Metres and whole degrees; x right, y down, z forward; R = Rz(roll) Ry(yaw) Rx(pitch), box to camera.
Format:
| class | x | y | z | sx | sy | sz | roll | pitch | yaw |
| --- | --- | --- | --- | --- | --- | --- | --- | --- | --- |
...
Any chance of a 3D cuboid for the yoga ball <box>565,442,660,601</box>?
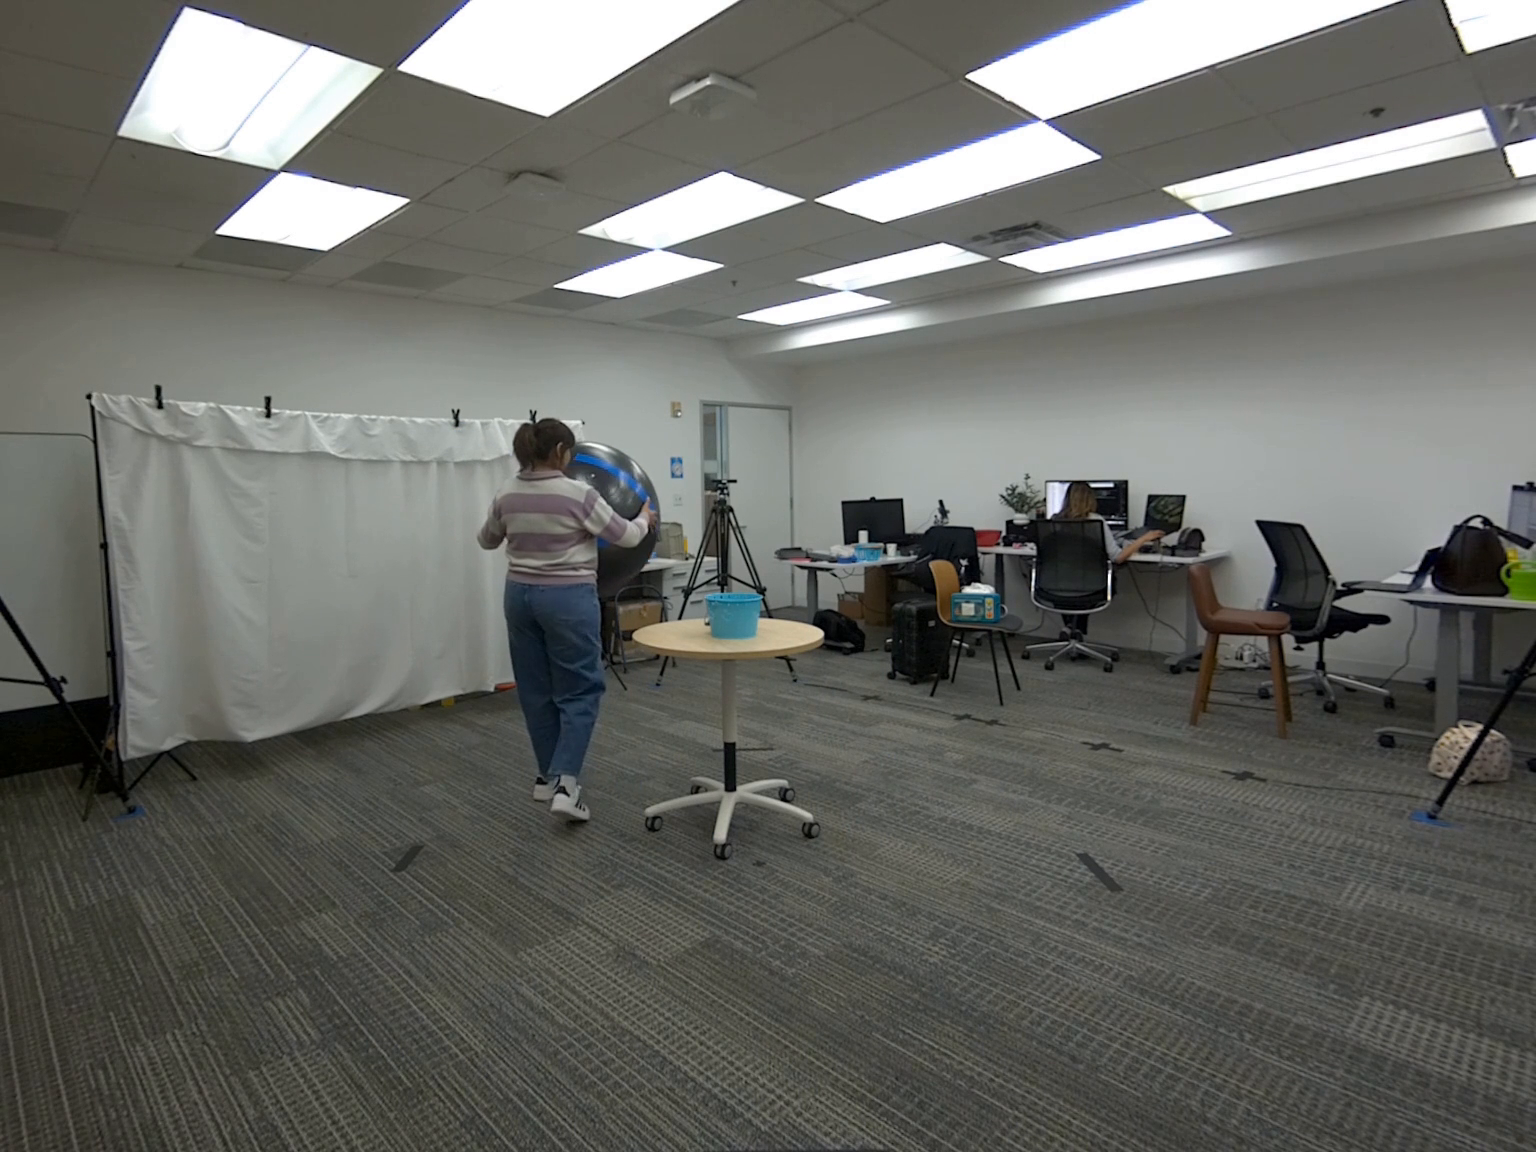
| class | x | y | z | sx | sy | sz | roll | pitch | yaw |
| --- | --- | --- | --- | --- | --- | --- | --- | --- | --- |
| yoga ball | -0.911 | -0.275 | 4.221 | 0.757 | 0.755 | 0.762 | -1 | 5 | -2 |
